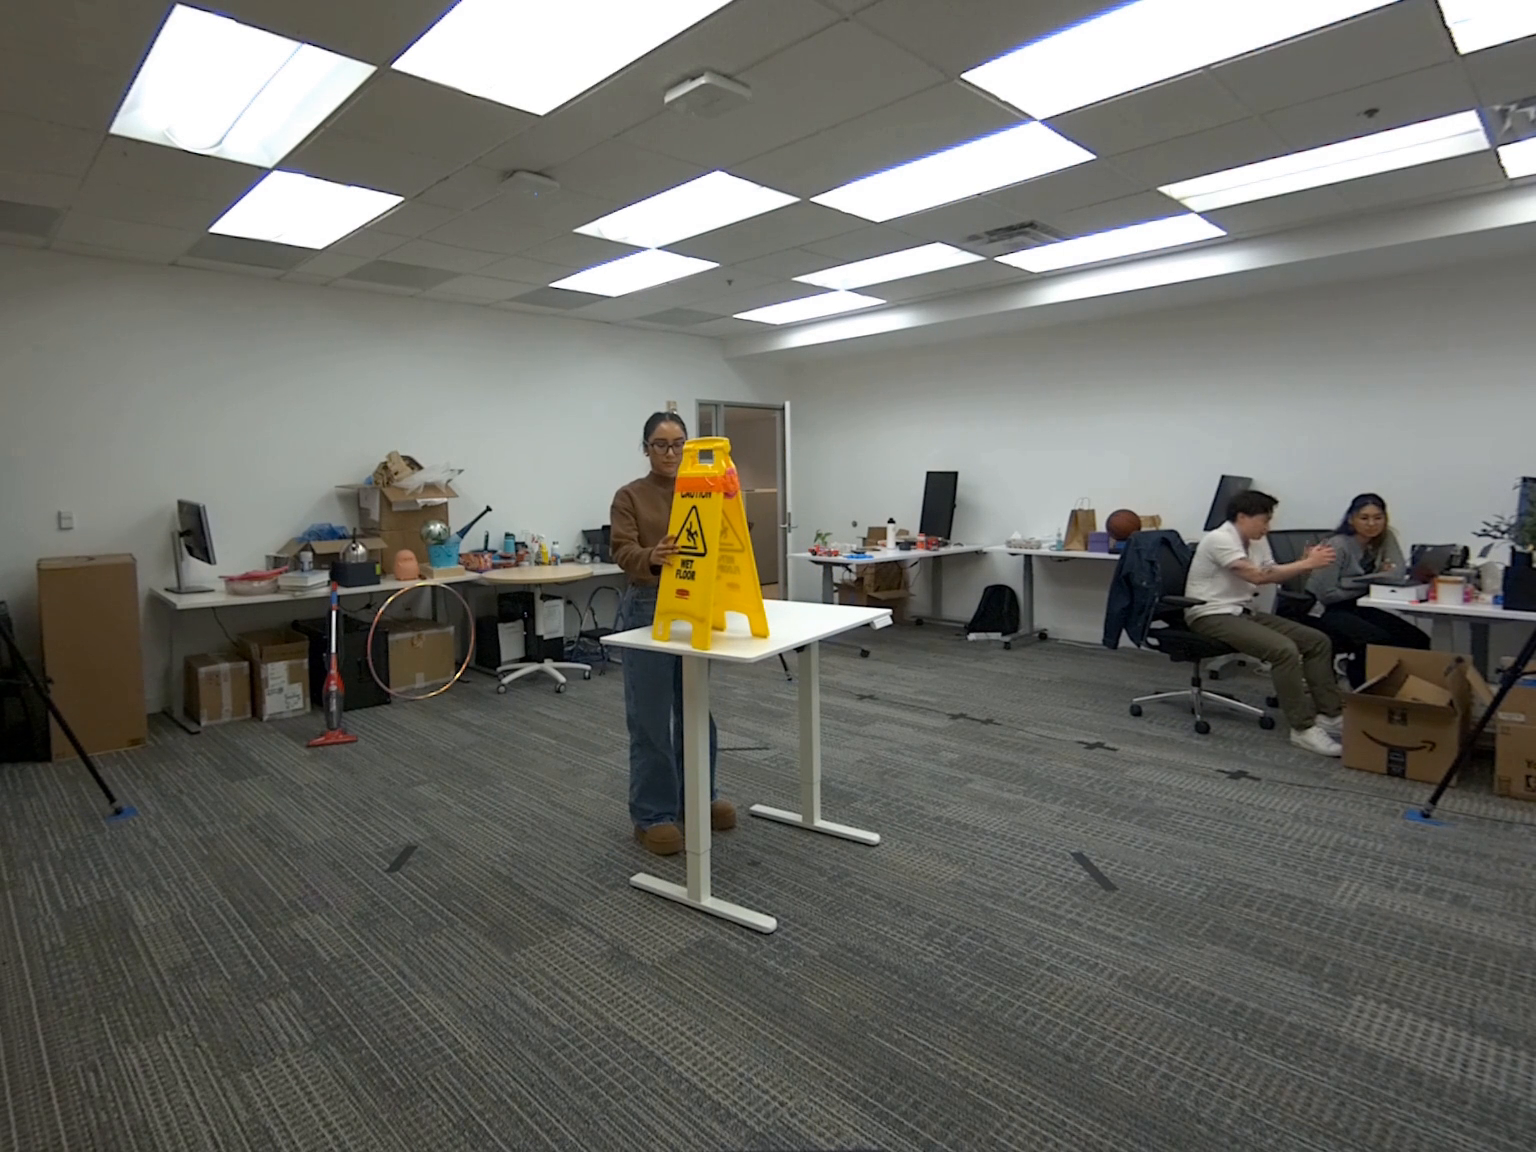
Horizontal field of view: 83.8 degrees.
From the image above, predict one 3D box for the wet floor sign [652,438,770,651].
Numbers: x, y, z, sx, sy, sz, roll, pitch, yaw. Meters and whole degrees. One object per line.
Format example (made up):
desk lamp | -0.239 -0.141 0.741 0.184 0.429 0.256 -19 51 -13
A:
wet floor sign | -0.187 -0.117 2.757 0.282 0.644 0.291 -4 5 -44
